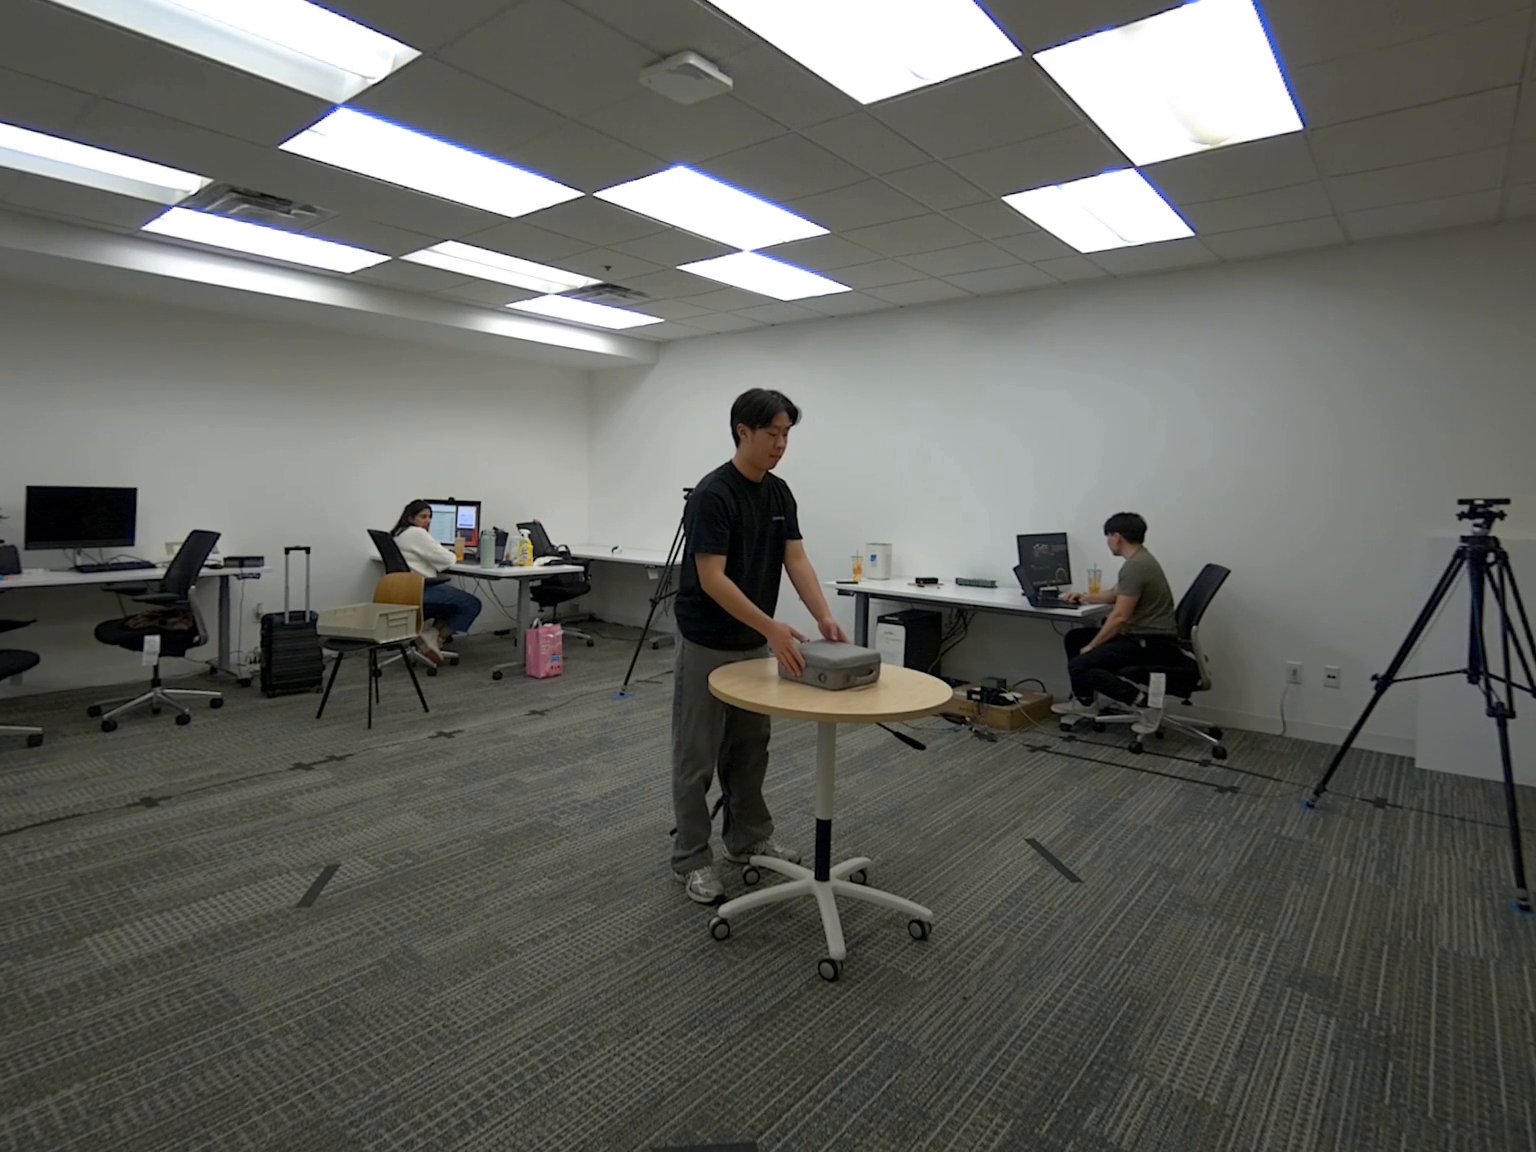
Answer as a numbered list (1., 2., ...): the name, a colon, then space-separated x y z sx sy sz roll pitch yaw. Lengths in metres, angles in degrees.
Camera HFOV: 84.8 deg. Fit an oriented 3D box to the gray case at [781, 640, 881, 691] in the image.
1. gray case: 0.204 0.283 2.727 0.255 0.102 0.297 -3 8 -44
